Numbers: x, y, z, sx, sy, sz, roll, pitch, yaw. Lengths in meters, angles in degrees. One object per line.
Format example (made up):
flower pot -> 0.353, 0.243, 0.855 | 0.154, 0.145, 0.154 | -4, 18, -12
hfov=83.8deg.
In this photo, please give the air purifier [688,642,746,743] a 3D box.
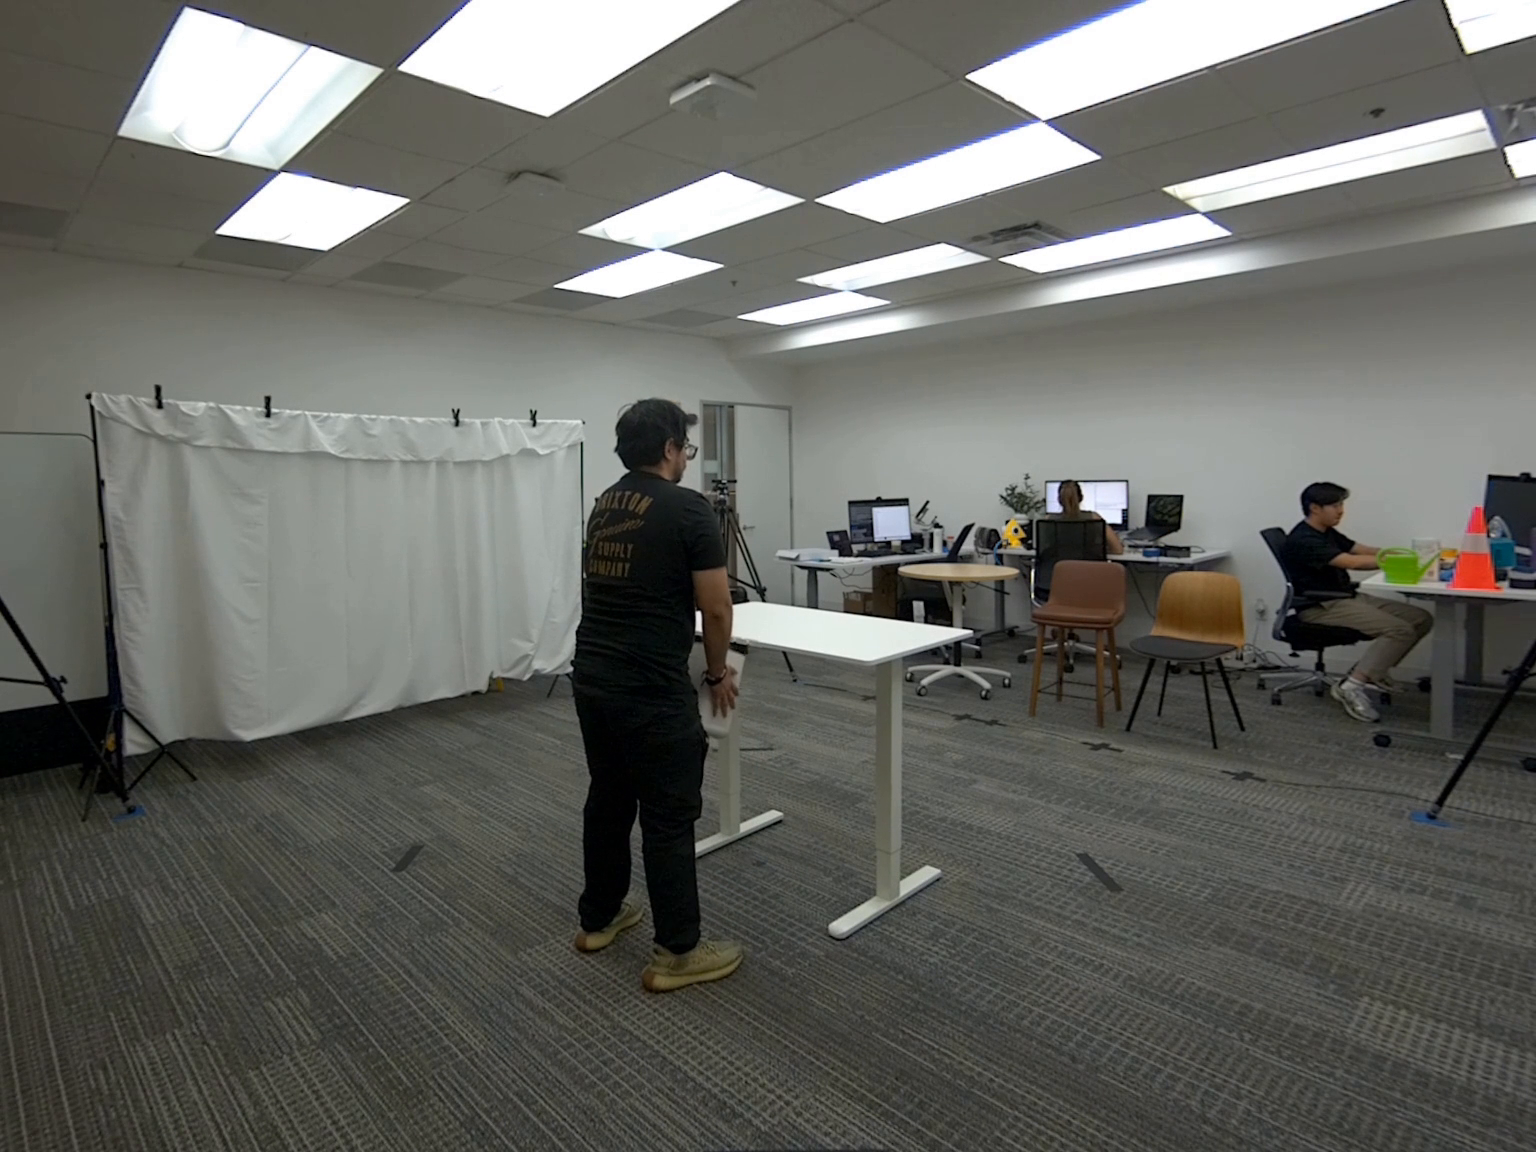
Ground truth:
air purifier -> -0.193, 0.358, 2.643 | 0.176, 0.268, 0.165 | -3, -19, 41
